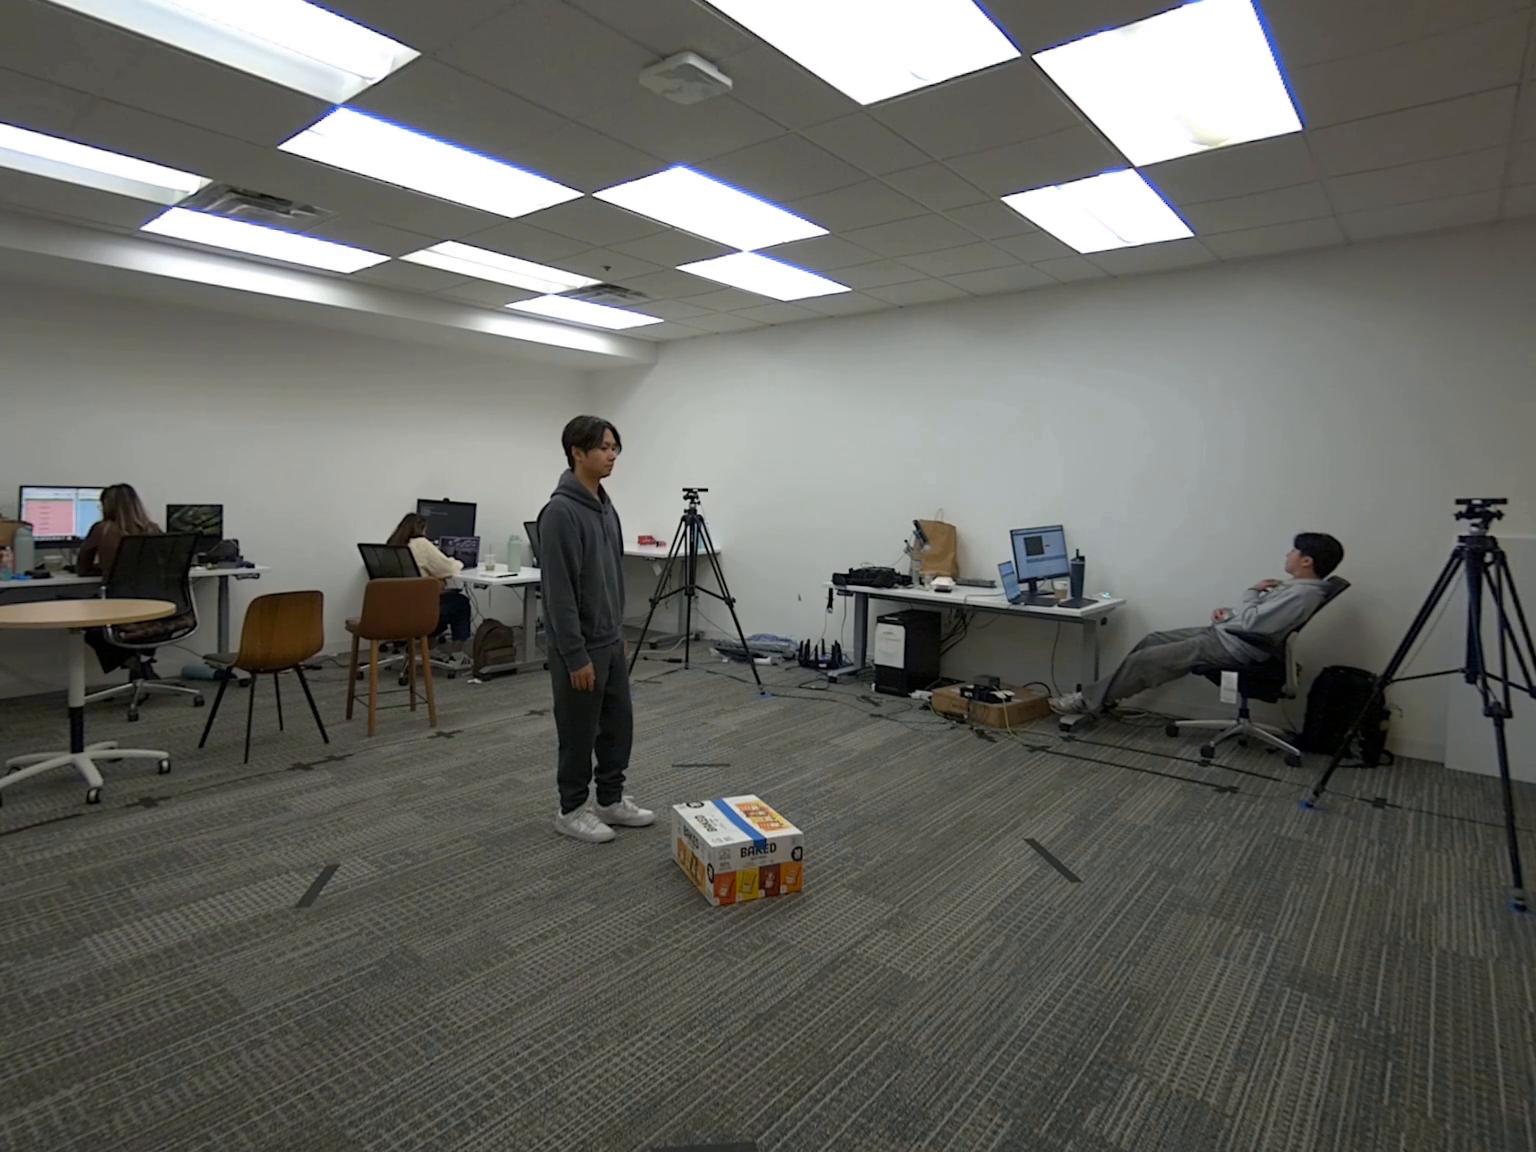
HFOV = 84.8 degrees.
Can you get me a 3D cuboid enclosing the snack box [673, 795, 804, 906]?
[{"bbox_3d":[-0.129,0.972,3.068,0.332,0.205,0.416,-1,6,-25],"label":"snack box"}]
